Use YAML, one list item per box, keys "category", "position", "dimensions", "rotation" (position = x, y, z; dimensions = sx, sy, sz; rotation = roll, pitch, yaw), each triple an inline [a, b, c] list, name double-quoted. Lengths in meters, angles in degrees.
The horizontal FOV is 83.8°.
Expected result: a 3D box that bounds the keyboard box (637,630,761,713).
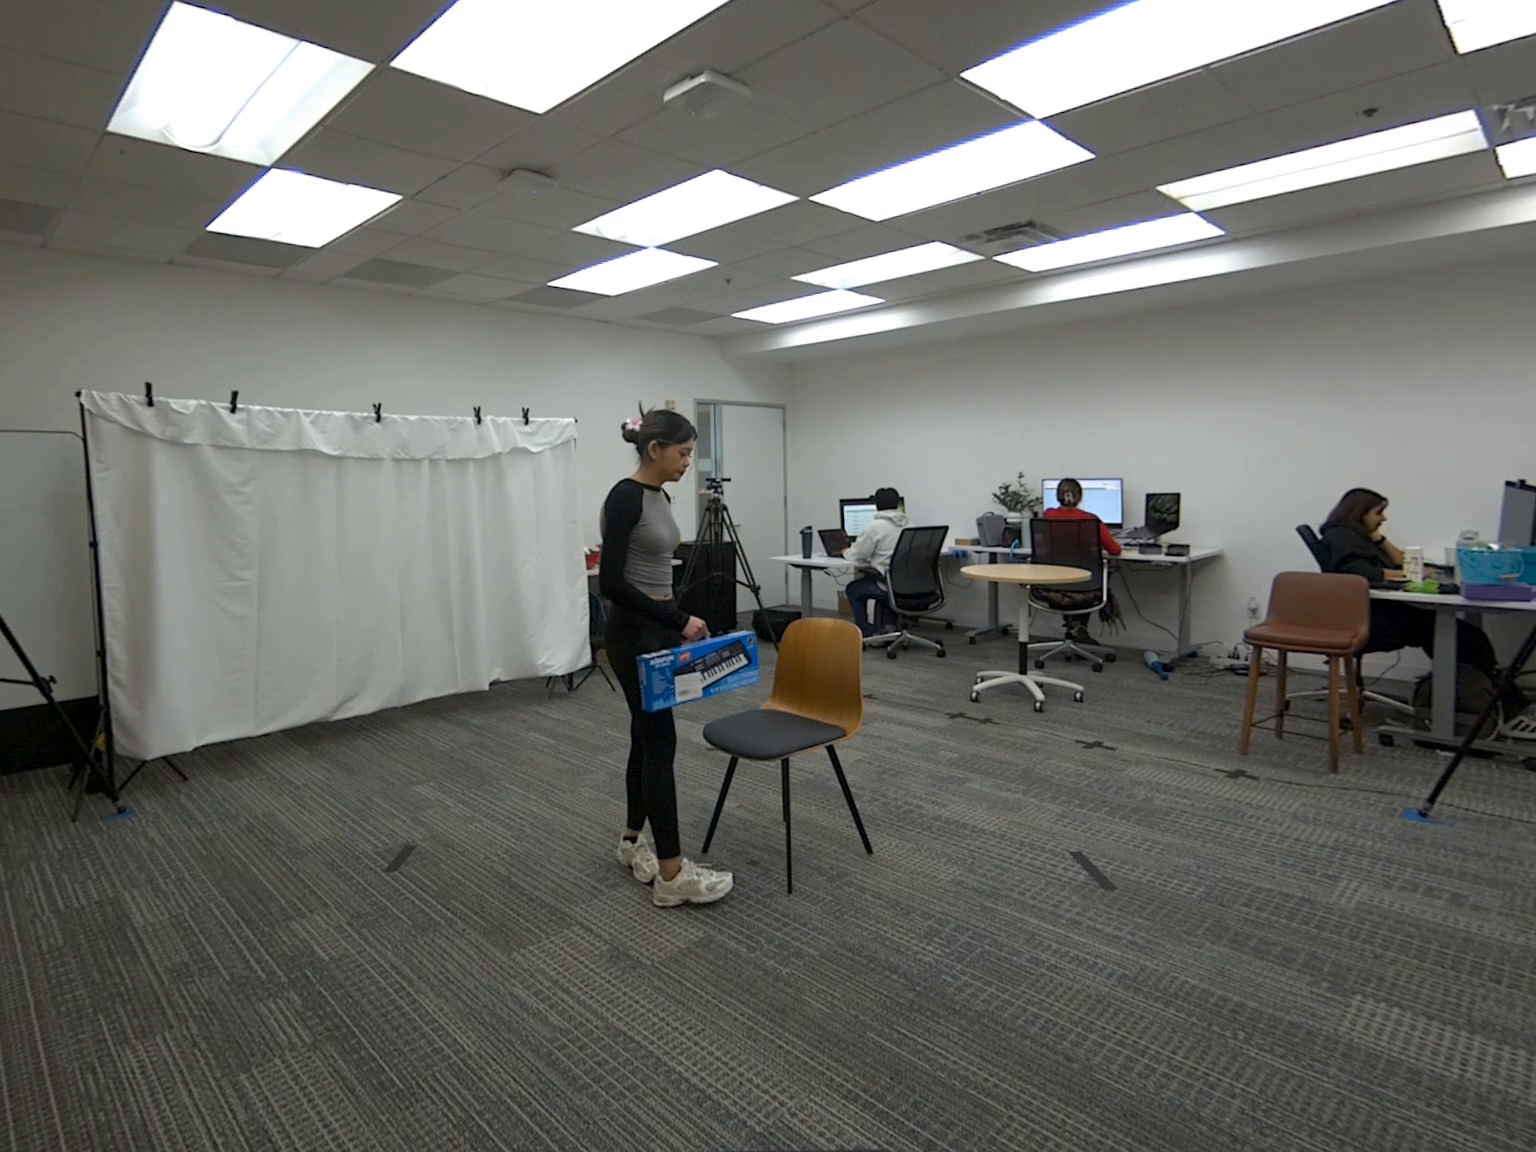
- category: "keyboard box"
  position: [-0.222, 0.310, 2.794]
  dimensions: [0.427, 0.175, 0.061]
  rotation: [-10, 5, -36]
